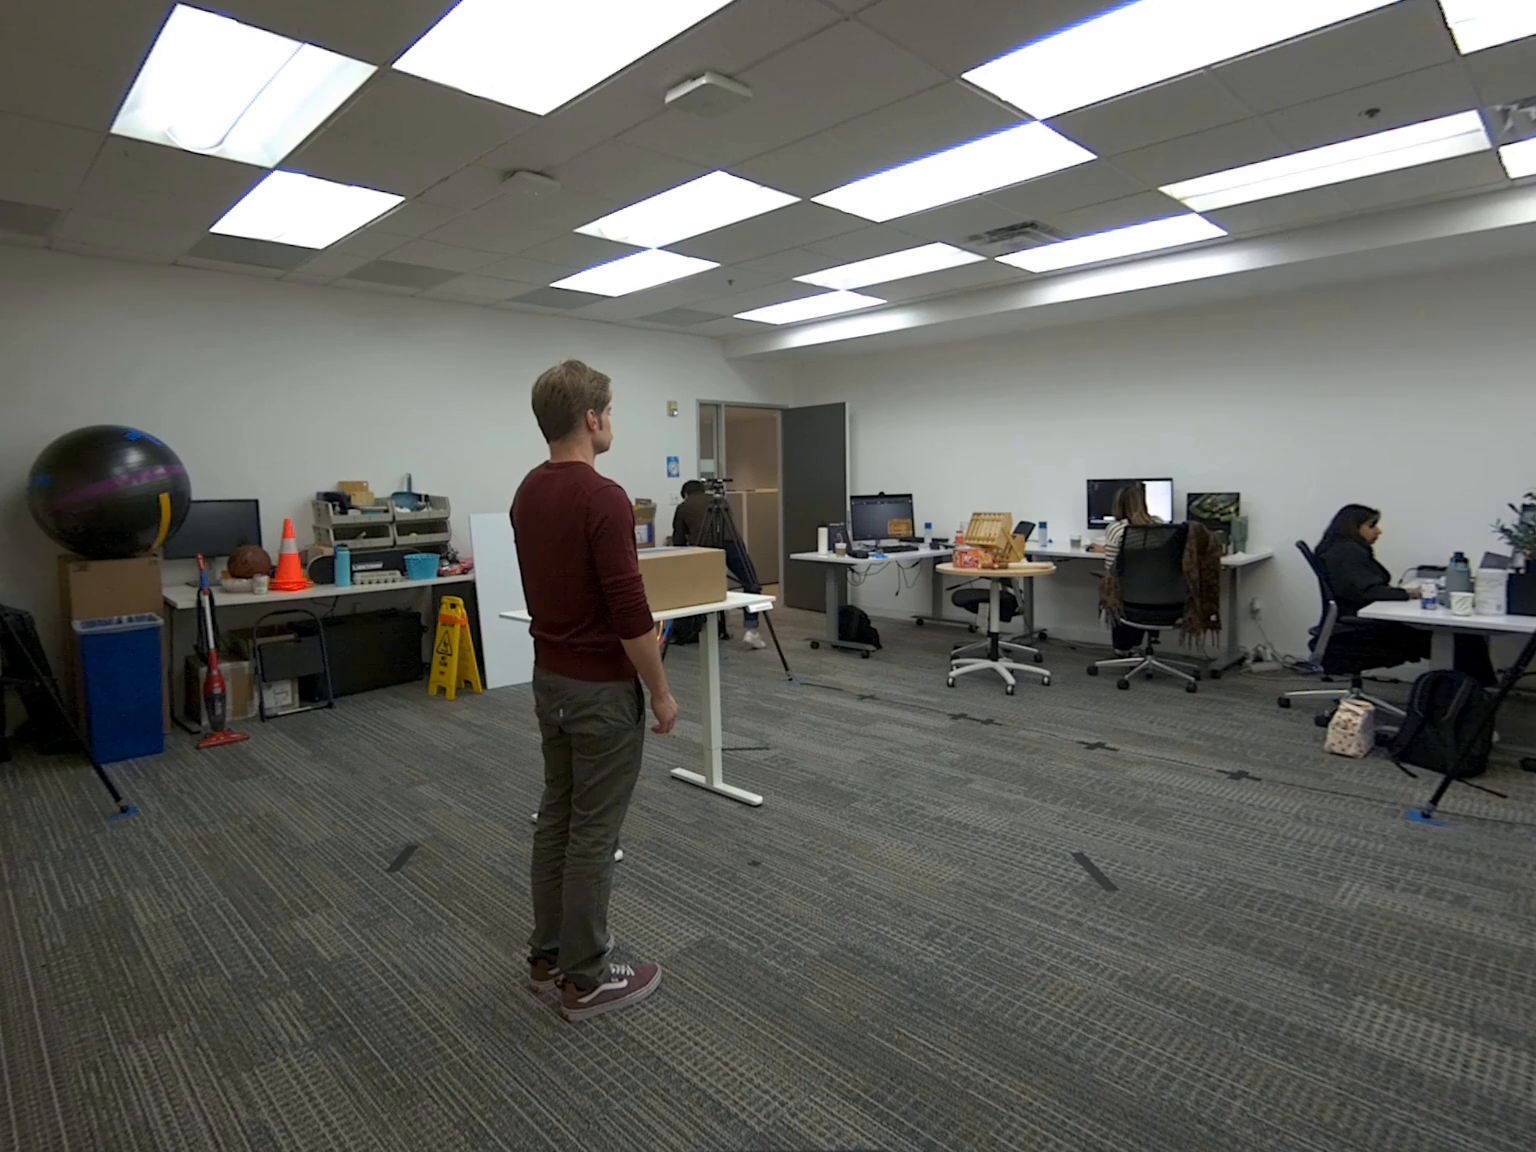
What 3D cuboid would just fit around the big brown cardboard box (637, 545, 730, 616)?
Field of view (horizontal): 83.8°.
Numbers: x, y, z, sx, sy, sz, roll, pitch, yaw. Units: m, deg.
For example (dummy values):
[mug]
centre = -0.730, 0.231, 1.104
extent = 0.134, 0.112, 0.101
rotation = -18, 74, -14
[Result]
[big brown cardboard box]
centre = -0.519, 0.013, 3.555
extent = 0.573, 0.232, 0.430
rotation = -6, 7, -44
